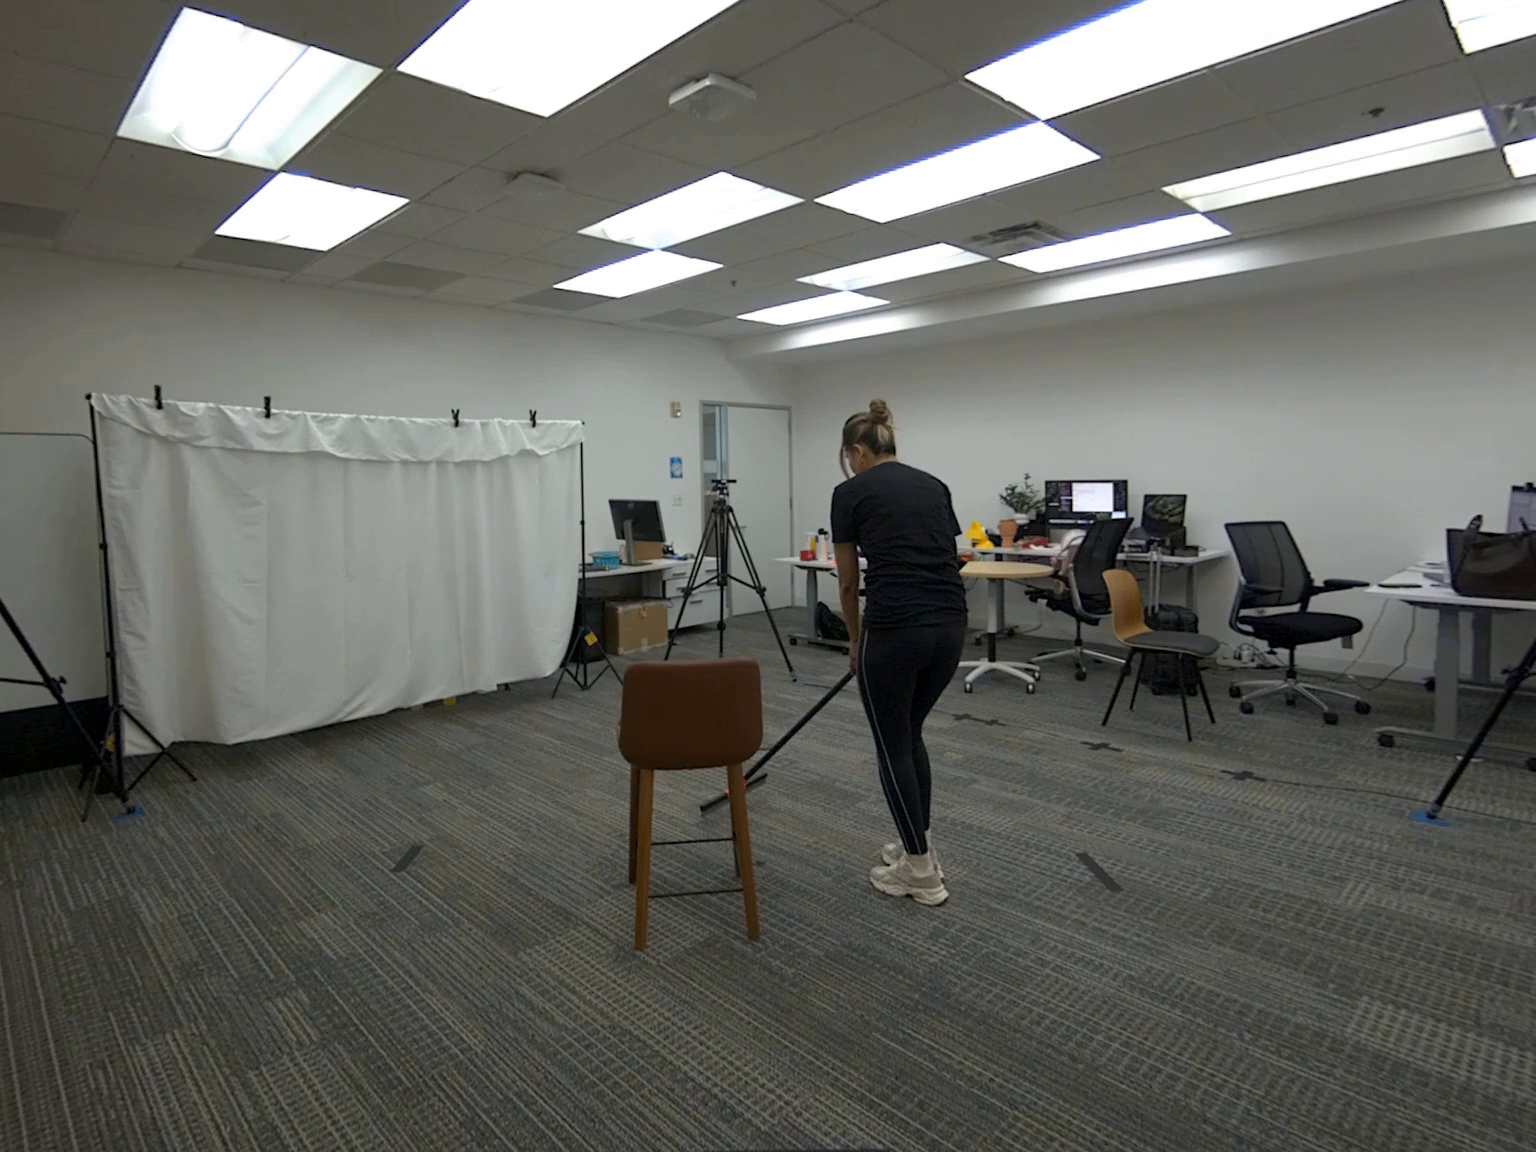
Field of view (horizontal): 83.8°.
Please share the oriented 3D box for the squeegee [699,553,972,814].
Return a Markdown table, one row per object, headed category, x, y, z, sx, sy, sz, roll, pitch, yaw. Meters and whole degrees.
| category | x | y | z | sx | sy | sz | roll | pitch | yaw |
| --- | --- | --- | --- | --- | --- | --- | --- | --- | --- |
| squeegee | 0.275 | 0.427 | 3.262 | 0.427 | 0.054 | 1.534 | -9 | -33 | -53 |
